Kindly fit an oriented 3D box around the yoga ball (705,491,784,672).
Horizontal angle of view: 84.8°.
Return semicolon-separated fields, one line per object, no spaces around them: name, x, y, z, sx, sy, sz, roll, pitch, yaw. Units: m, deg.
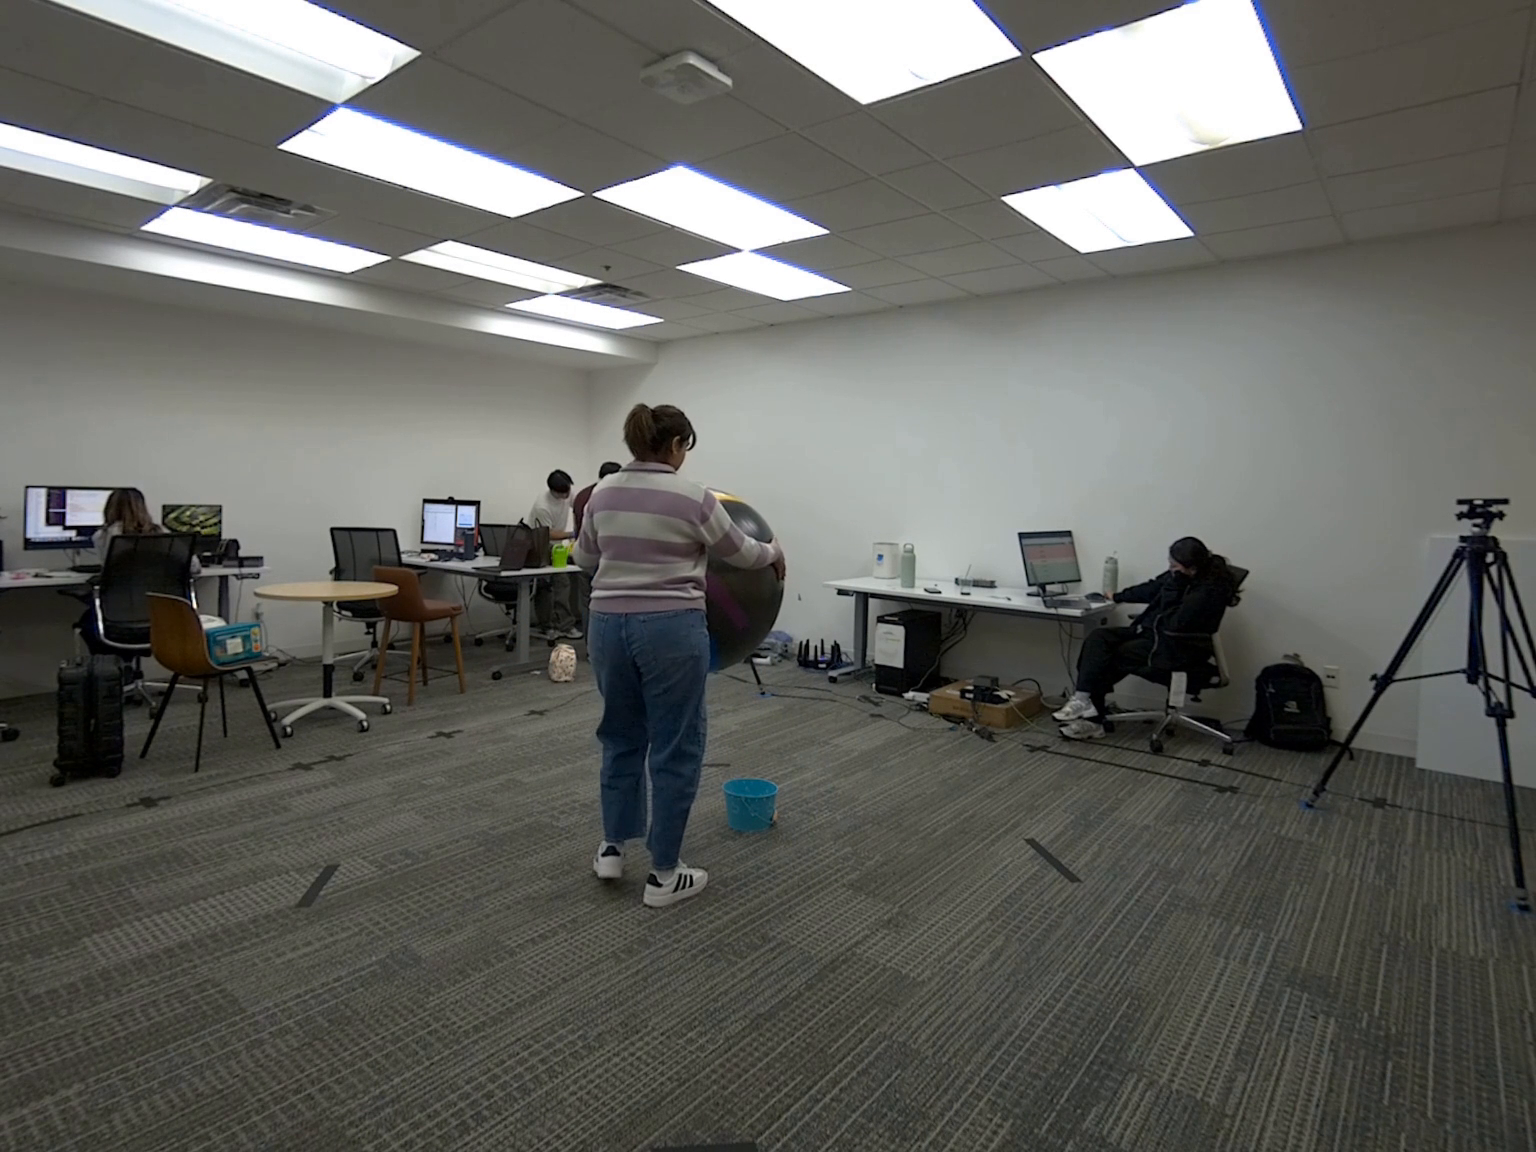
yoga ball;-0.322;0.021;3.443;0.757;0.756;0.761;1;4;-2
